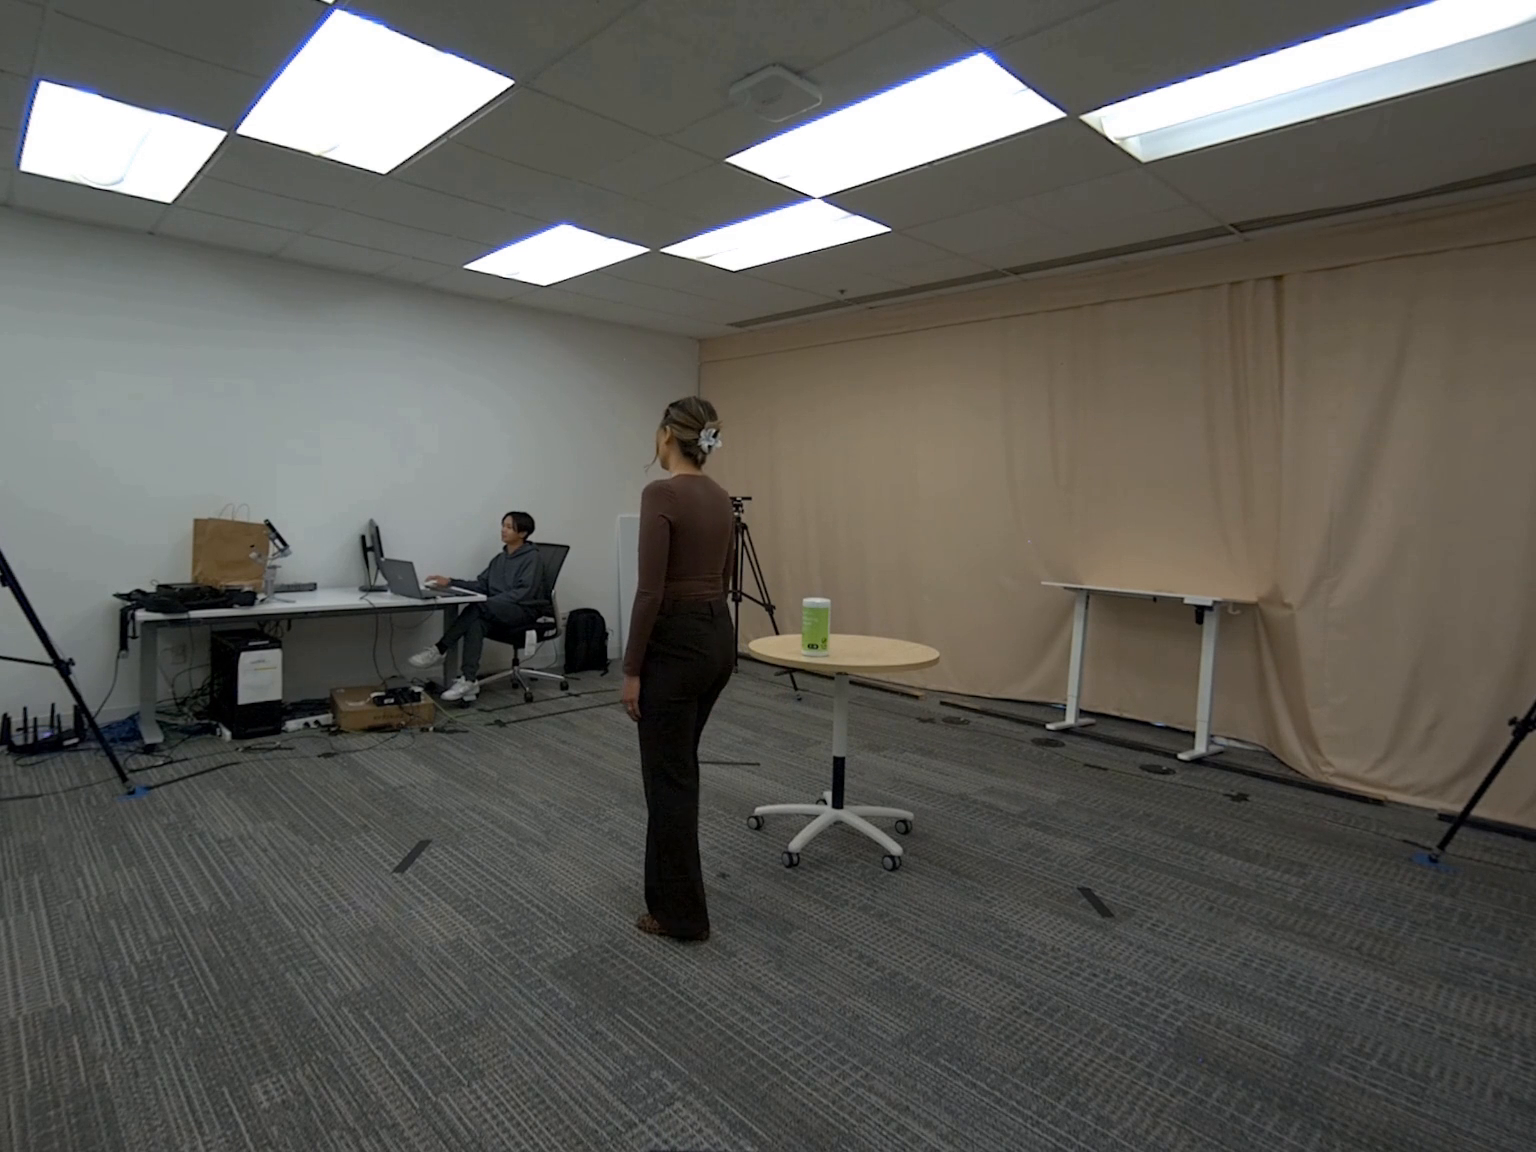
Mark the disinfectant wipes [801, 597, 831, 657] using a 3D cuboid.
[{"bbox_3d":[0.181,0.199,3.235,0.118,0.217,0.118,1,3,-1],"label":"disinfectant wipes"}]
